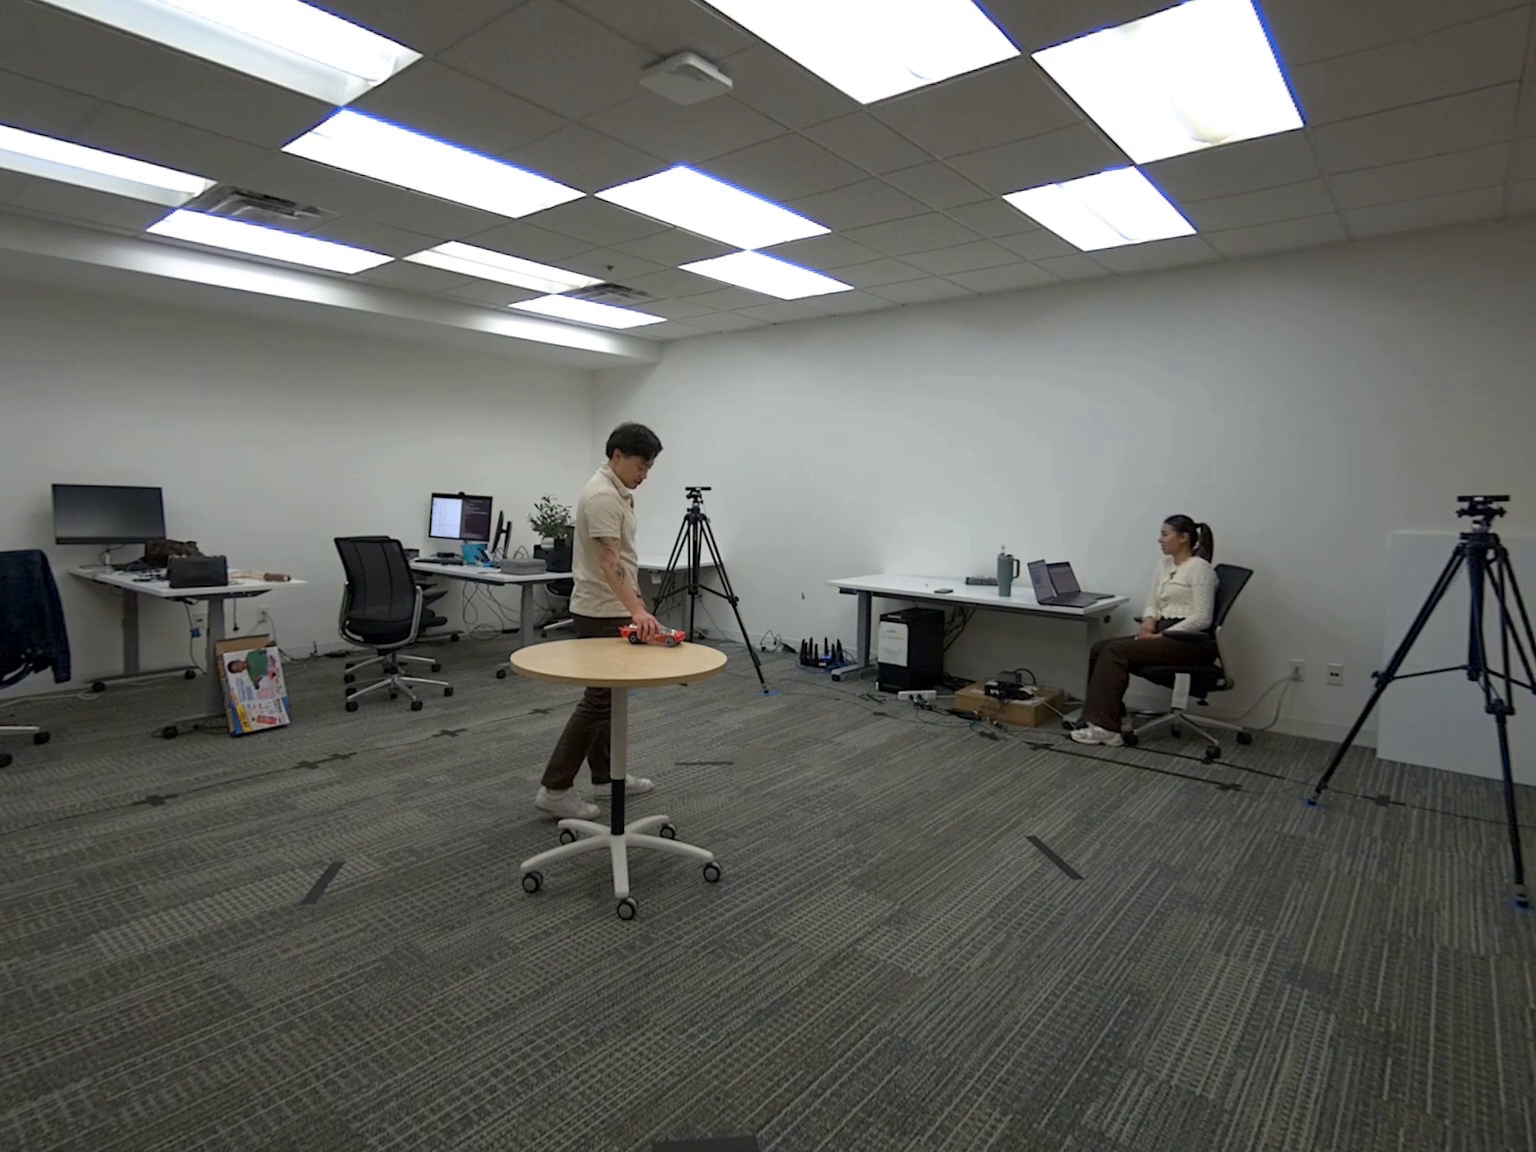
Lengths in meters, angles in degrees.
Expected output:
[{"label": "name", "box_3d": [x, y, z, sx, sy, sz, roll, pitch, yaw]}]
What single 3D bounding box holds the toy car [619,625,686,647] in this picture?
[{"label": "toy car", "box_3d": [-0.473, 0.229, 3.314, 0.258, 0.083, 0.129, 15, 5, 11]}]
